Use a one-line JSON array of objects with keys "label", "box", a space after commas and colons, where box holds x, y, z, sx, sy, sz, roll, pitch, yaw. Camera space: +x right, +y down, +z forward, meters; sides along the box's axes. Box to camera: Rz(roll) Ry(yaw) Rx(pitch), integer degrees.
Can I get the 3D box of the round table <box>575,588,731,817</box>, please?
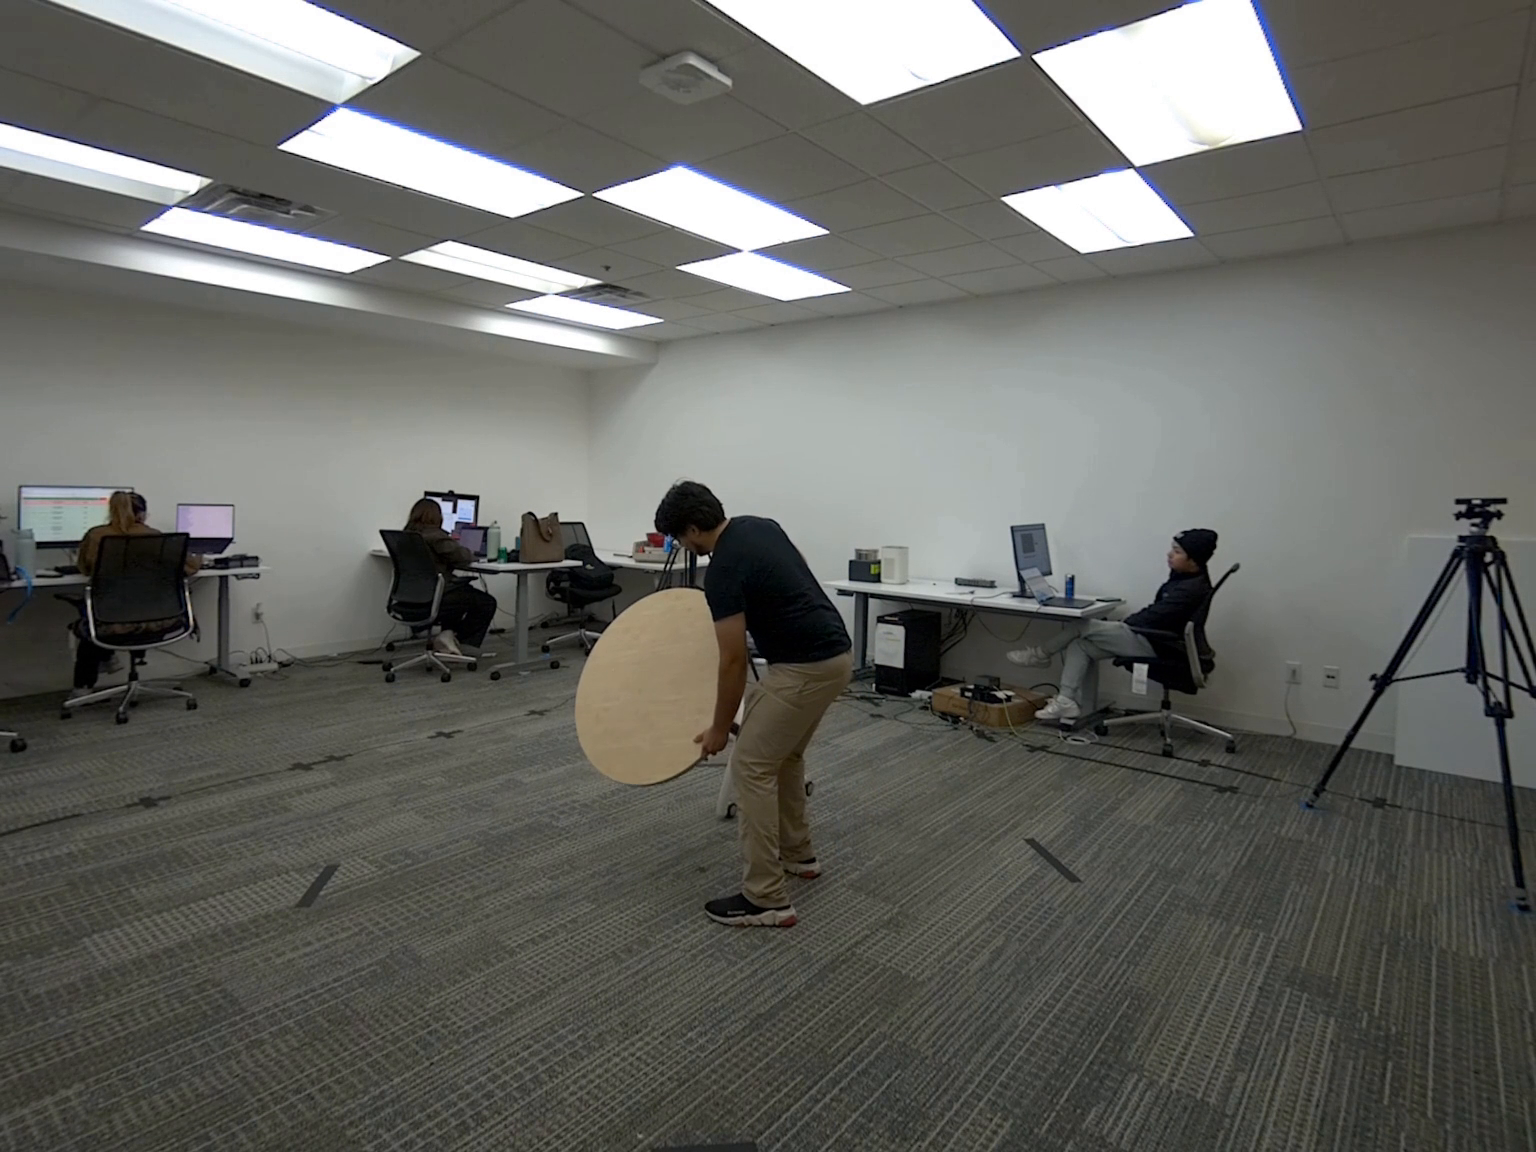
[{"label": "round table", "box": [-0.242, 0.547, 3.463, 0.810, 0.794, 0.753, 4, -24, 35]}]
